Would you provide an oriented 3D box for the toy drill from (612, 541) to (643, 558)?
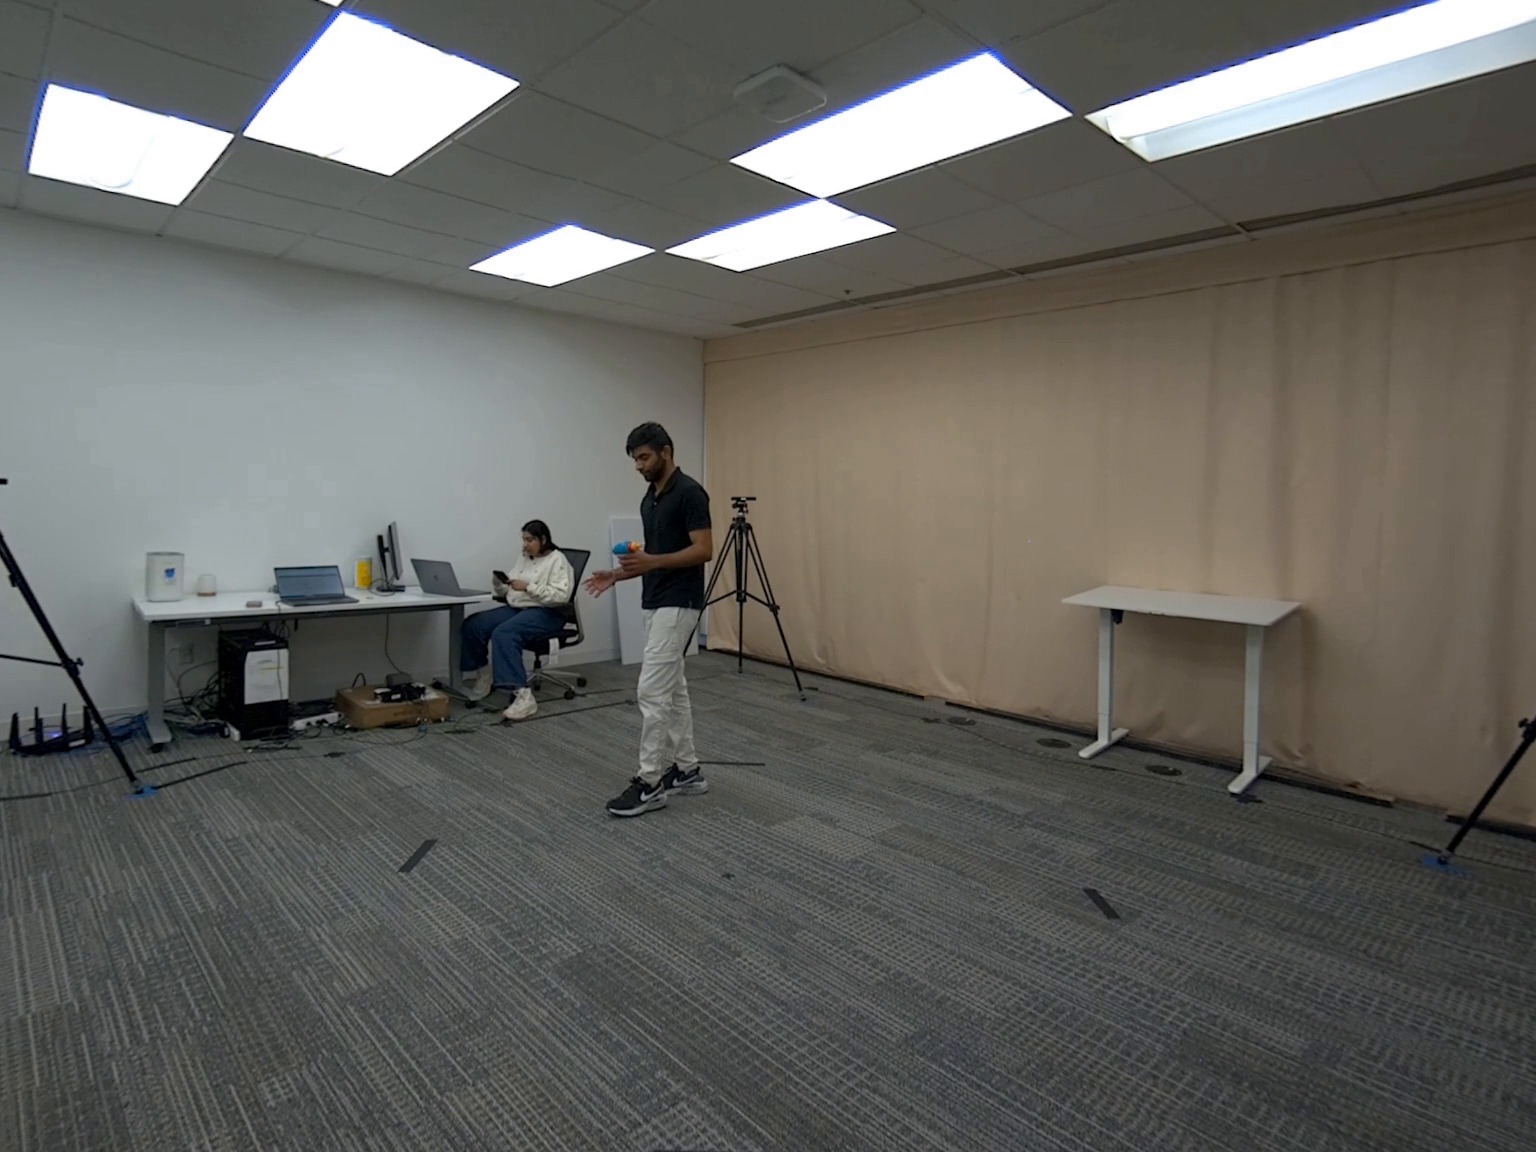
[{"bbox_3d":[-0.593,-0.088,3.619,0.172,0.143,0.061,-13,26,32],"label":"toy drill"}]
